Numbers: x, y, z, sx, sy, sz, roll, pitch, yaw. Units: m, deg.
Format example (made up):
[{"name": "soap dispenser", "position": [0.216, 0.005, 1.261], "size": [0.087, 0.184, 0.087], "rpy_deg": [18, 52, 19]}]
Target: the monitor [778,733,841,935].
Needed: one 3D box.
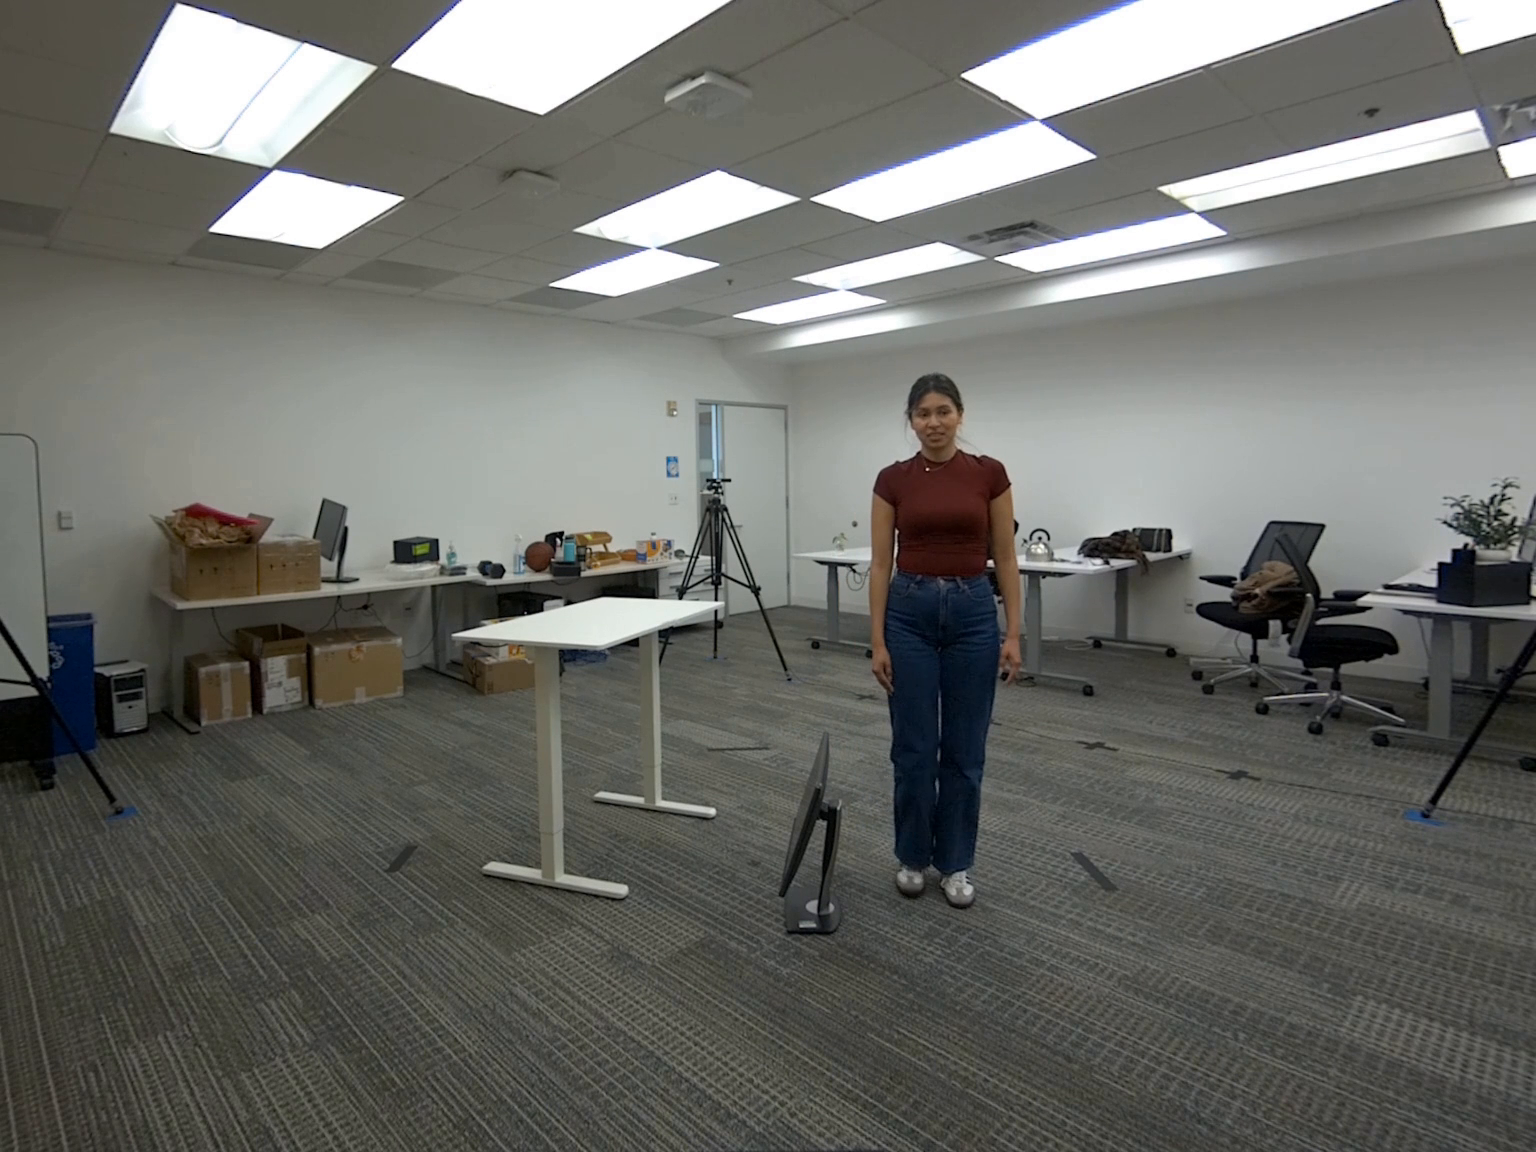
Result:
[{"name": "monitor", "position": [0.155, 0.832, 2.731], "size": [0.188, 0.521, 0.538], "rpy_deg": [2, 5, 5]}]
